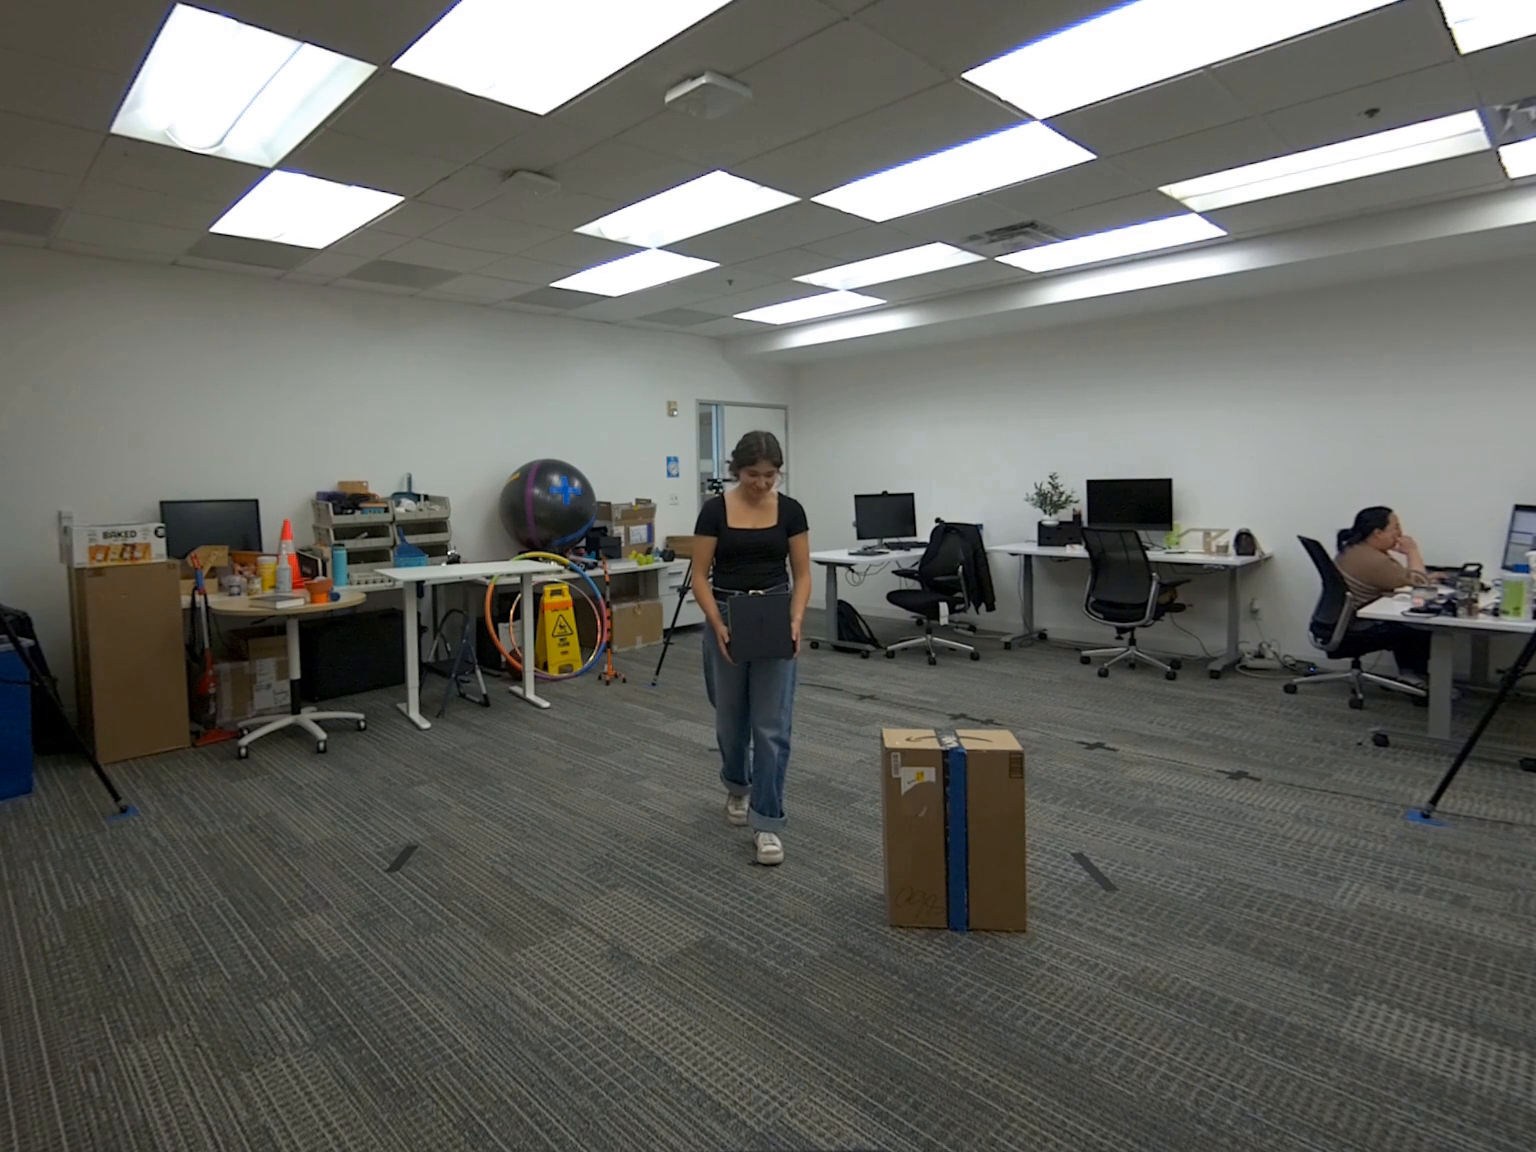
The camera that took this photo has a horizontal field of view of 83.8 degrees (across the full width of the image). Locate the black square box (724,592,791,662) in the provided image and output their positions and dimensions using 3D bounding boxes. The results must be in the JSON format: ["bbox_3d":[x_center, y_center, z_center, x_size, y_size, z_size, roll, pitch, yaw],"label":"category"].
[{"bbox_3d":[-0.048,0.178,3.037,0.216,0.229,0.156,-2,-4,-7],"label":"black square box"}]
